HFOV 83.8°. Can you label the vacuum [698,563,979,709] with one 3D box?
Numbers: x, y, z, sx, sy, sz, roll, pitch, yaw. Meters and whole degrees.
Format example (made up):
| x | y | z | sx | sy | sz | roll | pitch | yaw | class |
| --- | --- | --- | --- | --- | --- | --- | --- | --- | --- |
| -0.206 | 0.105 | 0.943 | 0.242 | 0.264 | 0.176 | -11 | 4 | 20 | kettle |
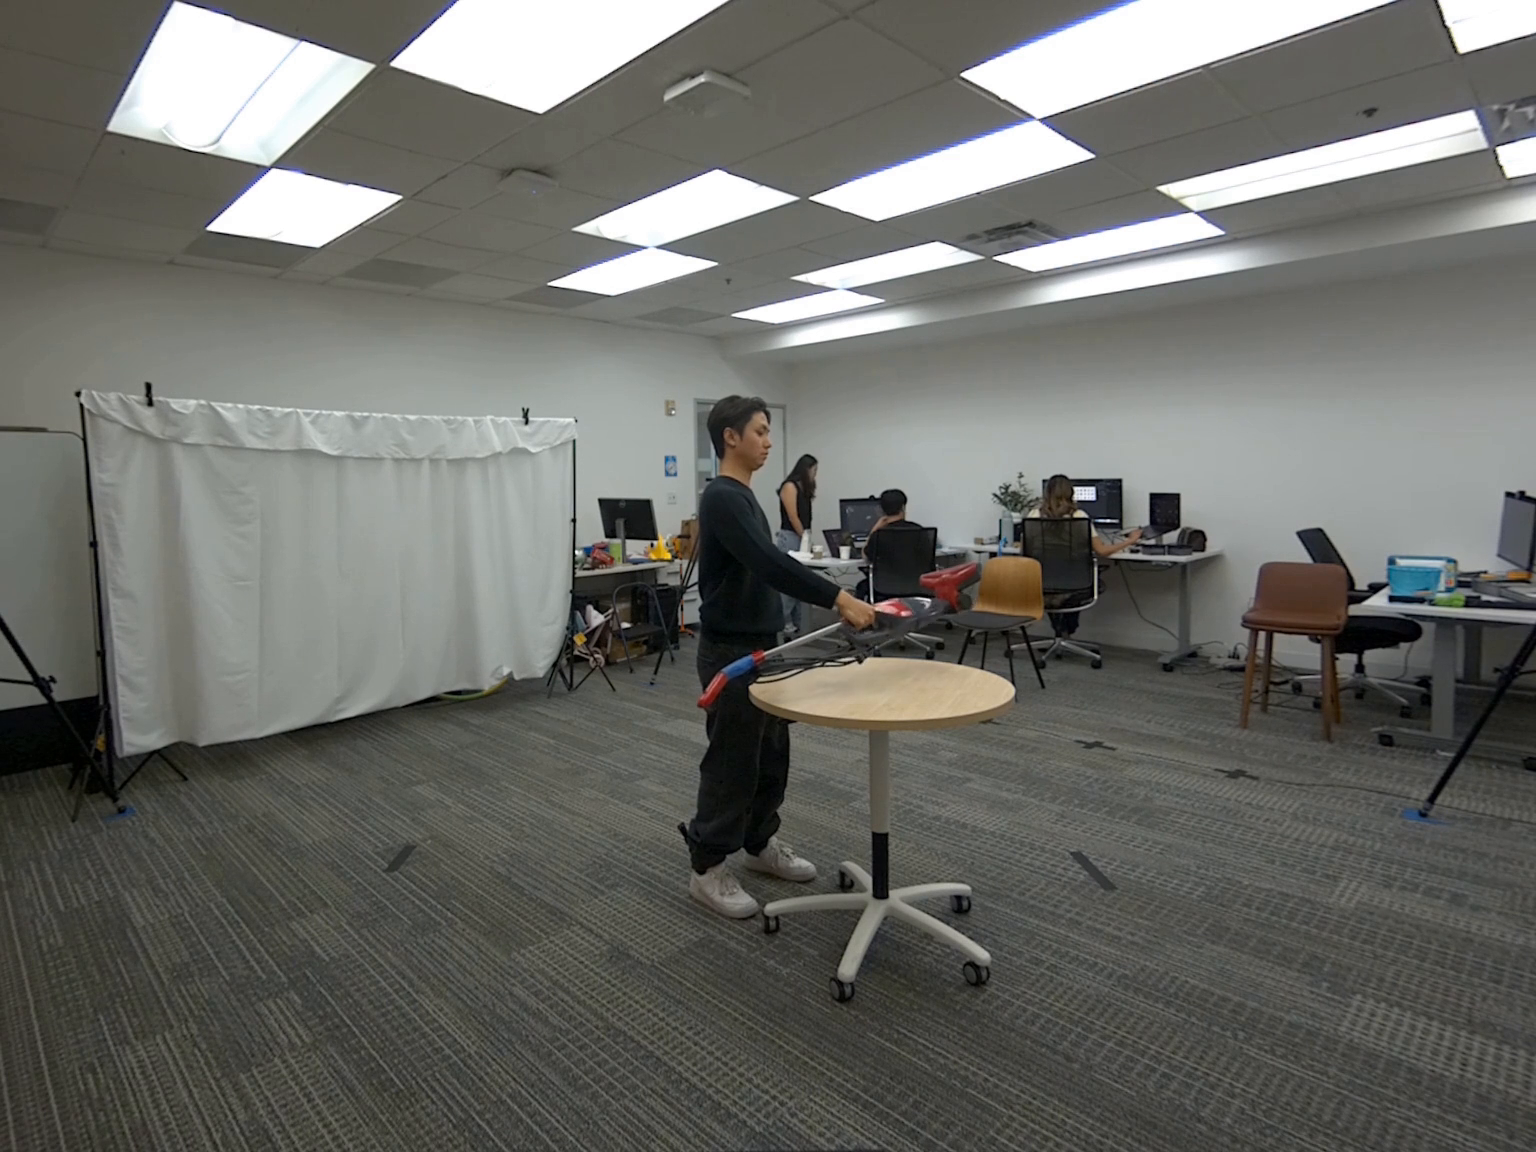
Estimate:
| x | y | z | sx | sy | sz | roll | pitch | yaw | class |
| --- | --- | --- | --- | --- | --- | --- | --- | --- | --- |
| 0.214 | 0.192 | 2.468 | 1.031 | 0.144 | 0.257 | -20 | 1 | -35 | vacuum |
